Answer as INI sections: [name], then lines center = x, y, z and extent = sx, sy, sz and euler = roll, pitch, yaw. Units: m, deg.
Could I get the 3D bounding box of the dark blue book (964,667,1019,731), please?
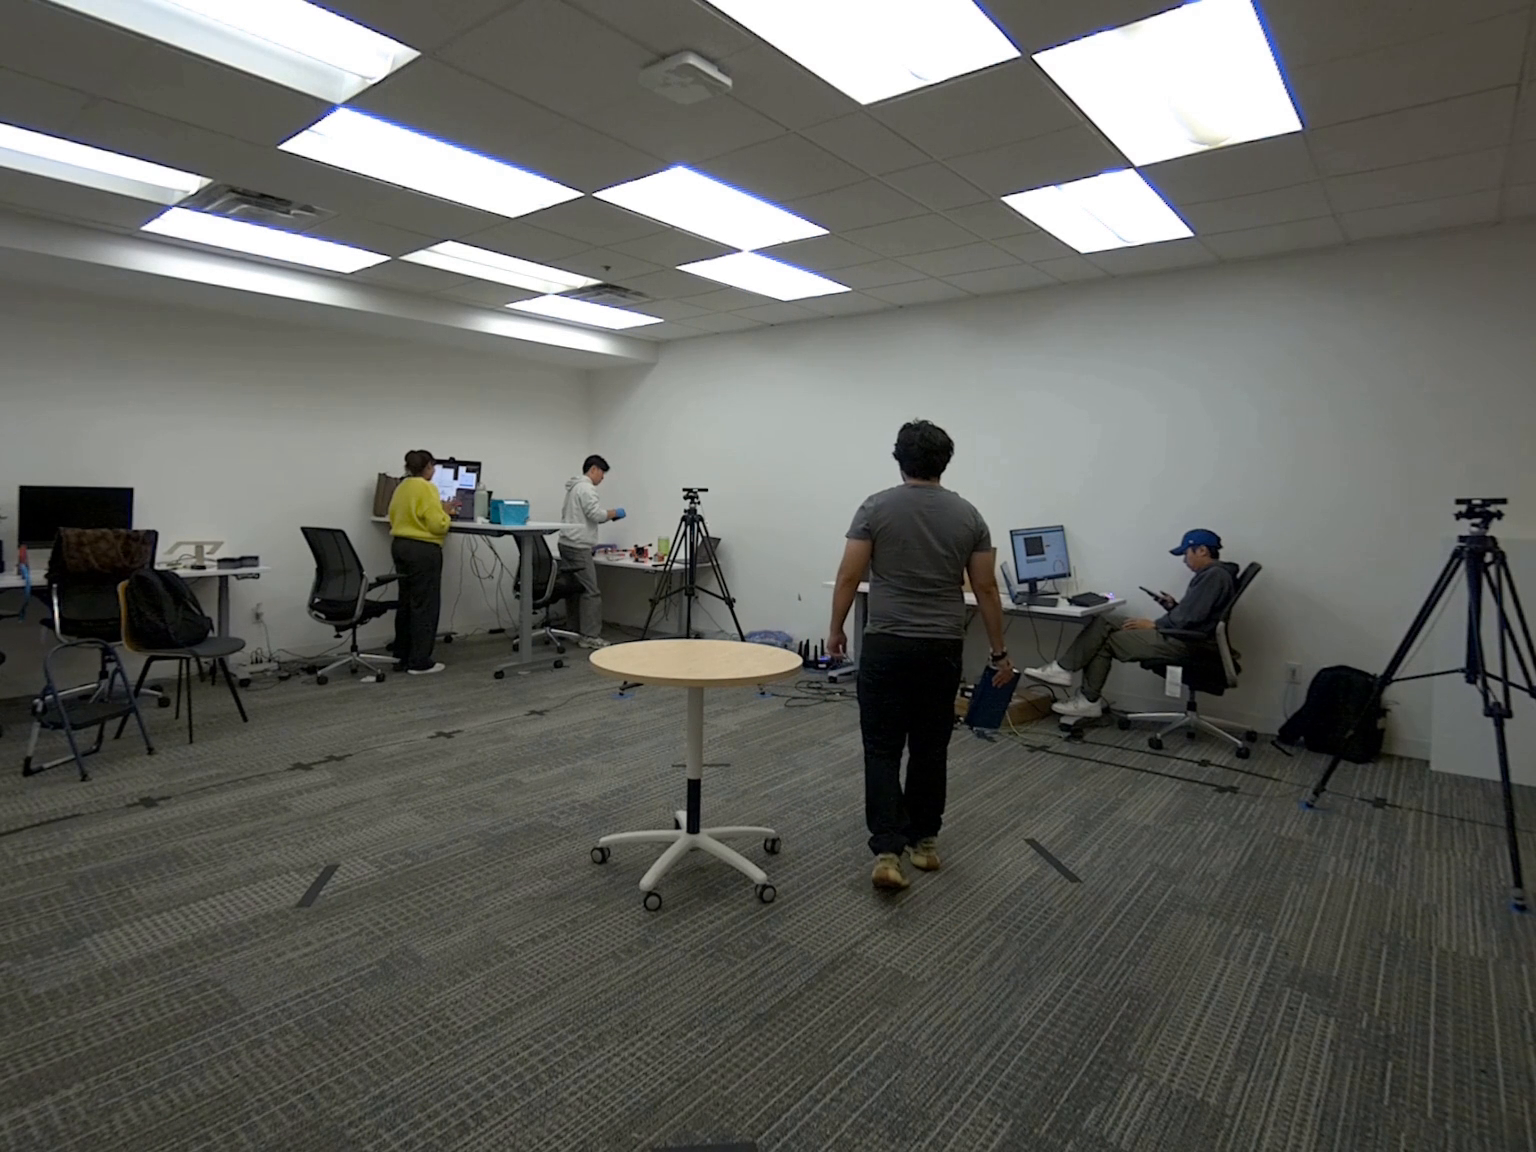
[dark blue book]
center = 0.853, 0.464, 3.277
extent = 0.159, 0.243, 0.047
euler = 12, 13, -26
